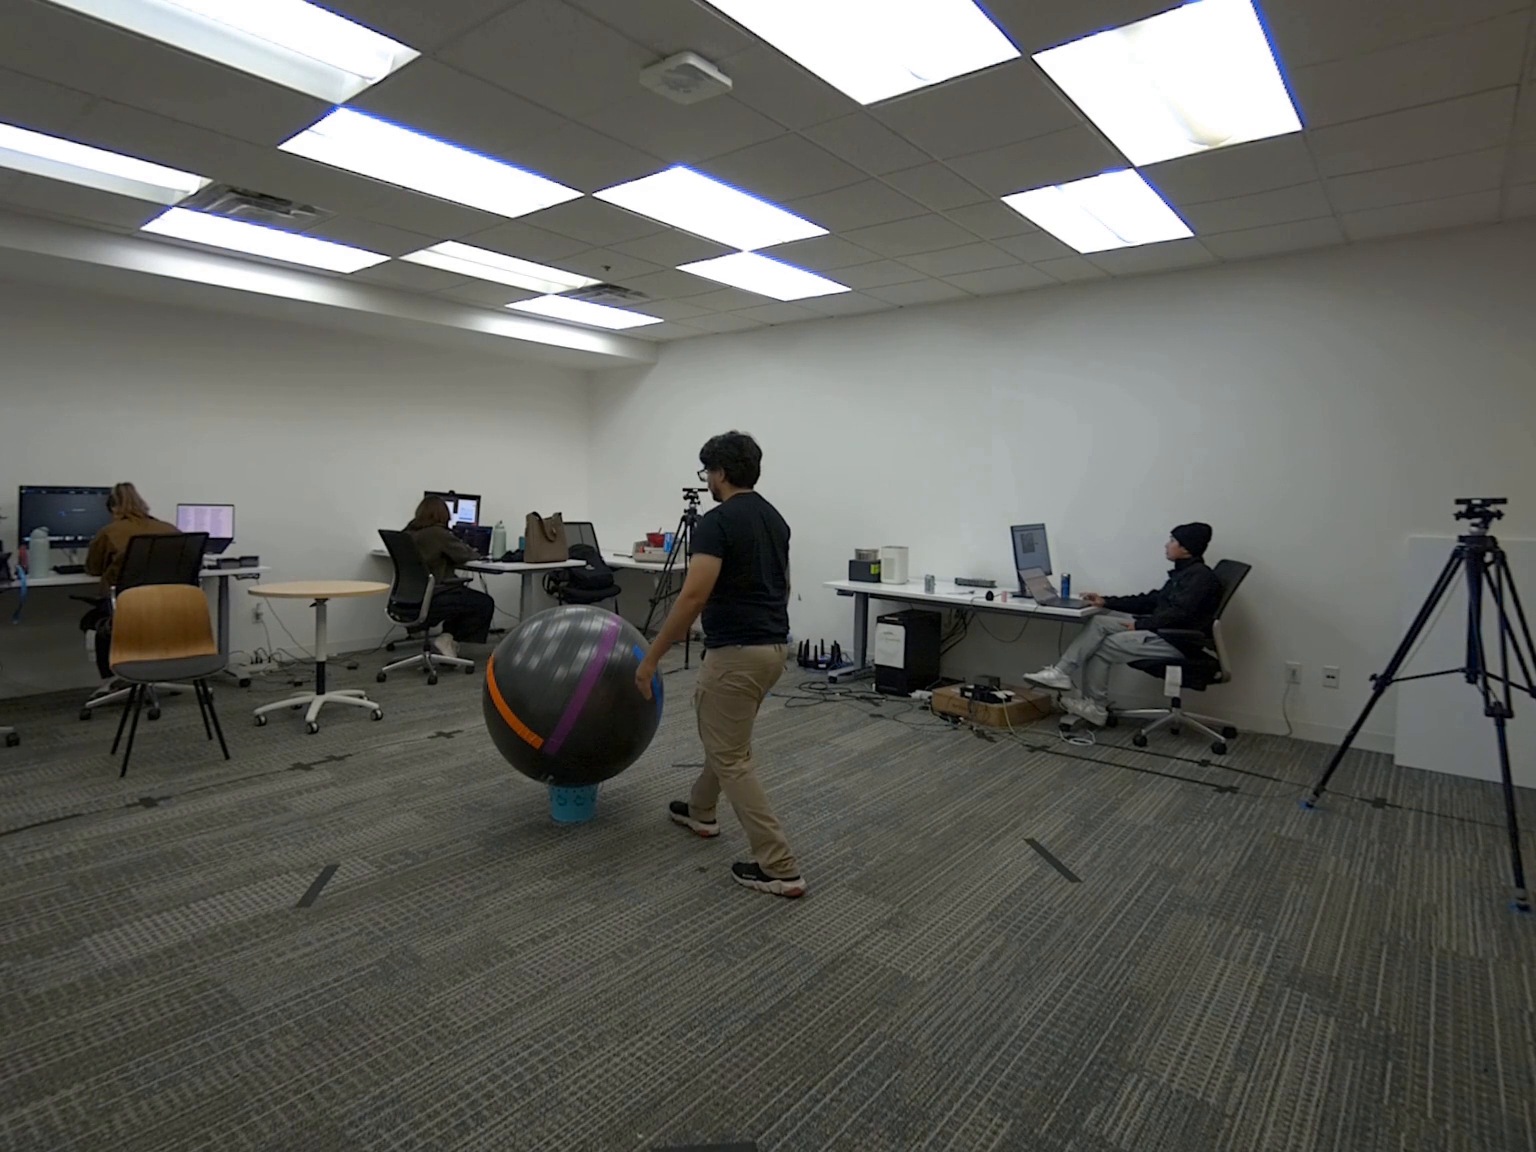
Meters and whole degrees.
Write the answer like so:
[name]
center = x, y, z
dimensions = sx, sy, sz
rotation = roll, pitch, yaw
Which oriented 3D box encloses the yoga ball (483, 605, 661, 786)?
[yoga ball]
center = -0.830, 0.507, 3.604
dimensions = 0.757, 0.755, 0.762
rotation = 1, 4, -2
